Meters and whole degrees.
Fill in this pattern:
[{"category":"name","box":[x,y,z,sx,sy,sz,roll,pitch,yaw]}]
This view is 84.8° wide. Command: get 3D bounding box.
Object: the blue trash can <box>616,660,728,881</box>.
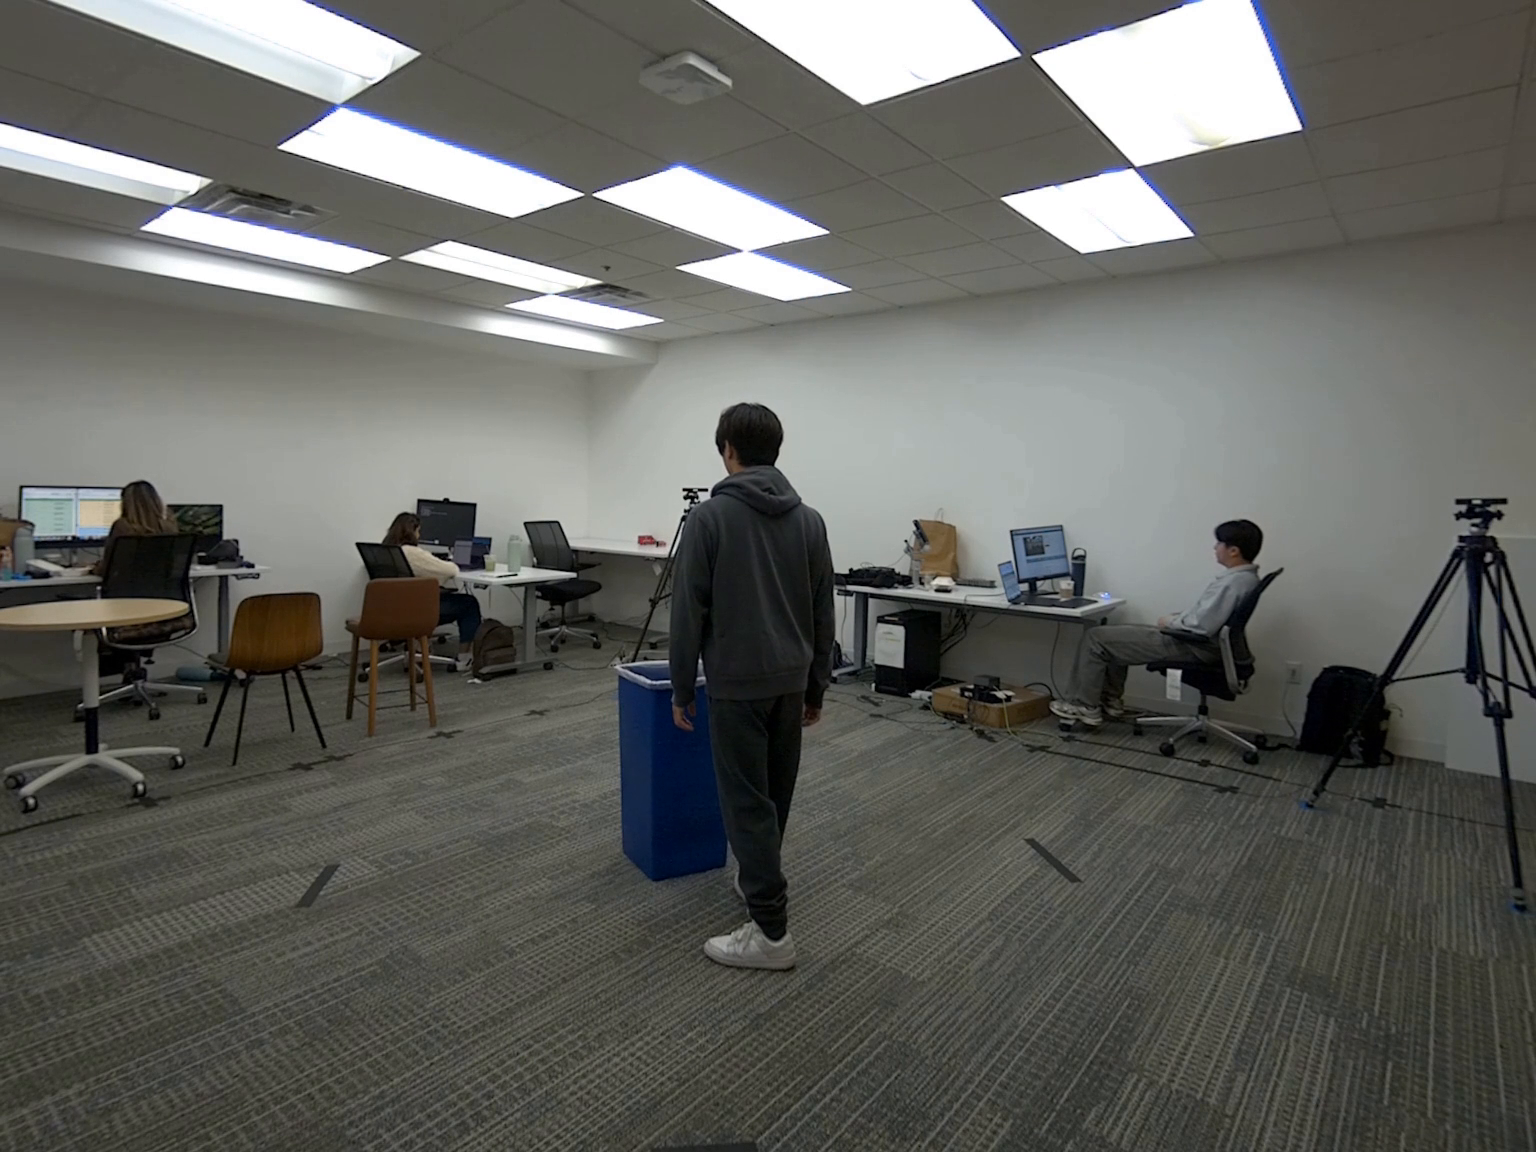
[{"category":"blue trash can","box":[-0.366,0.701,3.187,0.368,0.712,0.385,0,3,-30]}]
